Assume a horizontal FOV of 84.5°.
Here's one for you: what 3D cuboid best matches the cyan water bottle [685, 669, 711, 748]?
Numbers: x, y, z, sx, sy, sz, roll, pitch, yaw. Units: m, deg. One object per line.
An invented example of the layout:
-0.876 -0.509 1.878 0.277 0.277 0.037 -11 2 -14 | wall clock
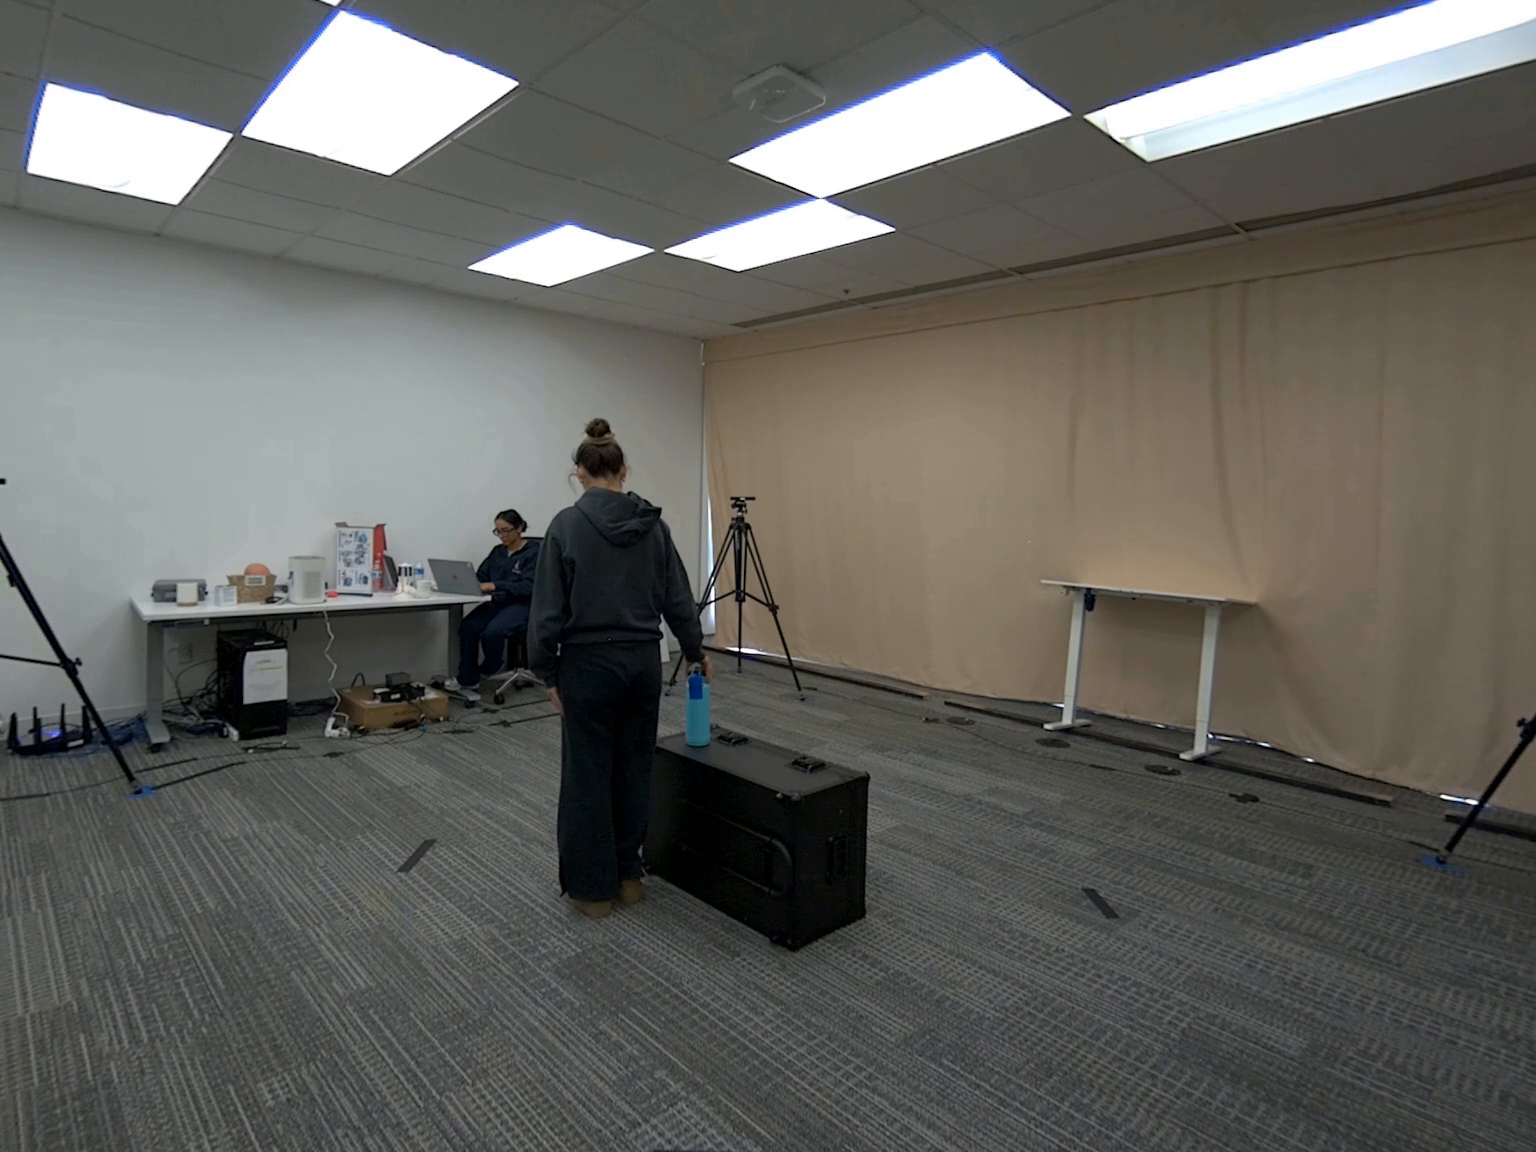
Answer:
-0.266 0.476 3.117 0.092 0.282 0.093 0 5 -1 | cyan water bottle
